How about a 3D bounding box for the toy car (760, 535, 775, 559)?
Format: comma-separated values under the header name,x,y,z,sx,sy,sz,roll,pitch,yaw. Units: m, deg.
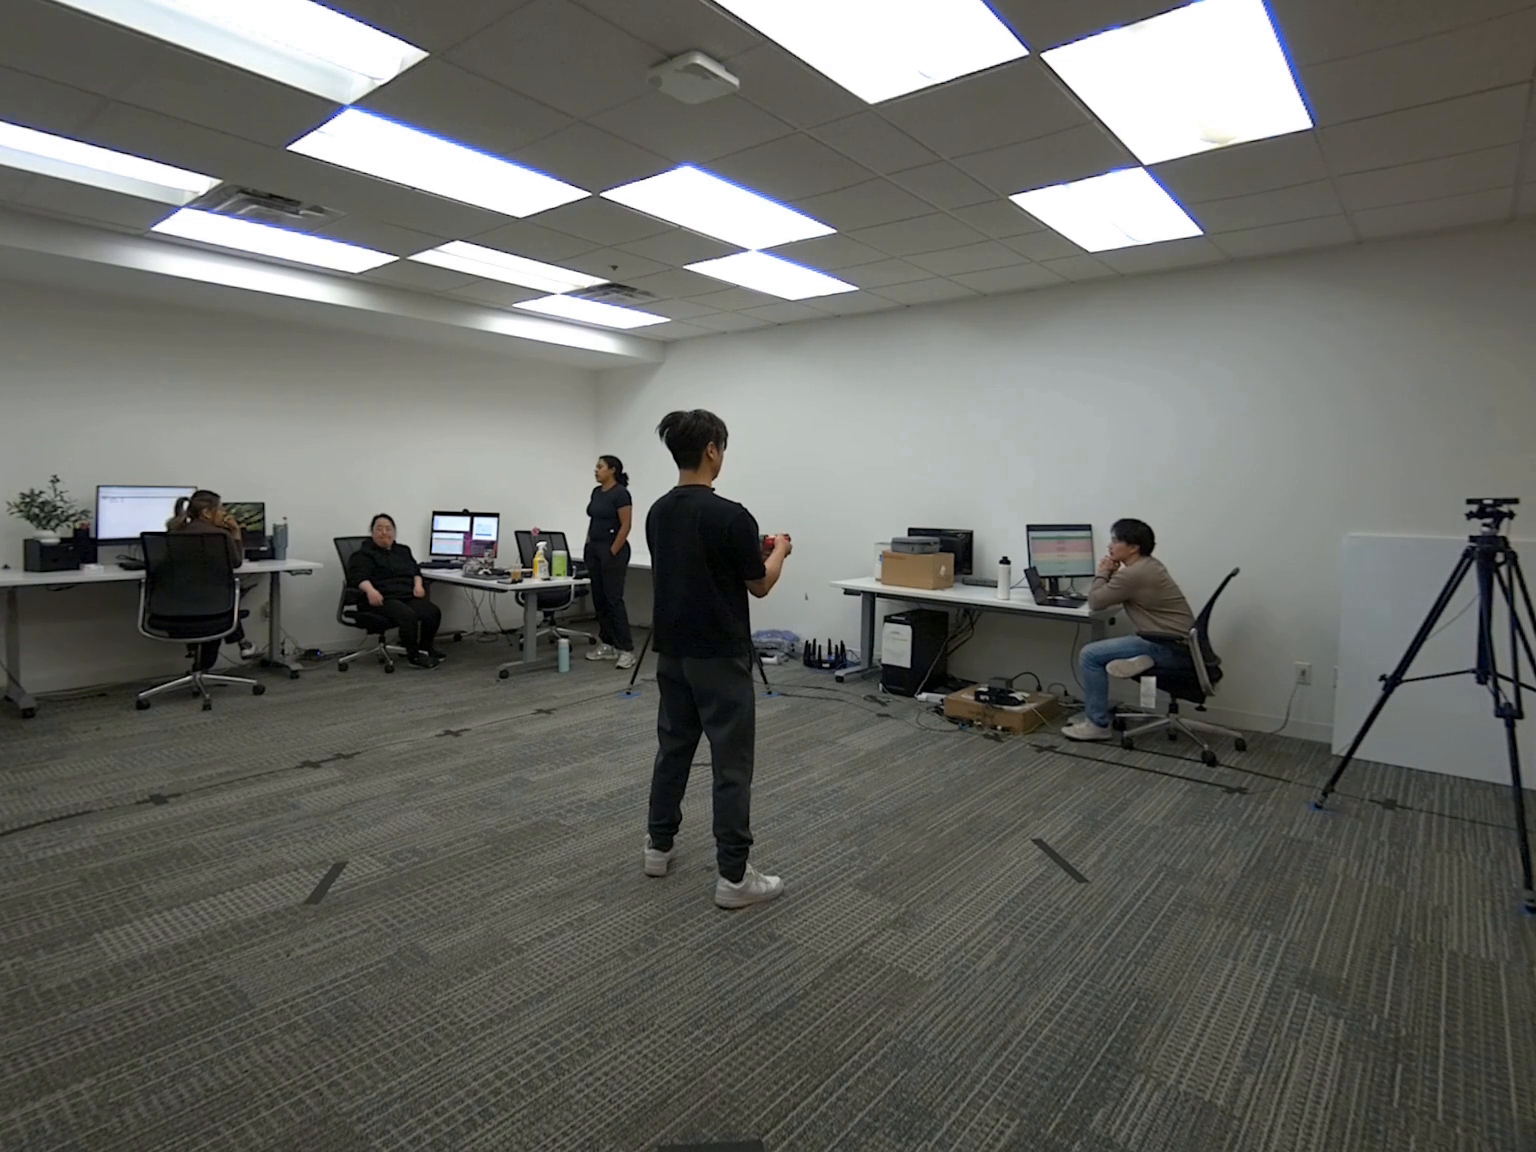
name,x,y,z,sx,sy,sz,roll,pitch,yaw
toy car,-0.016,-0.114,3.308,0.128,0.085,0.253,-1,-21,-18
